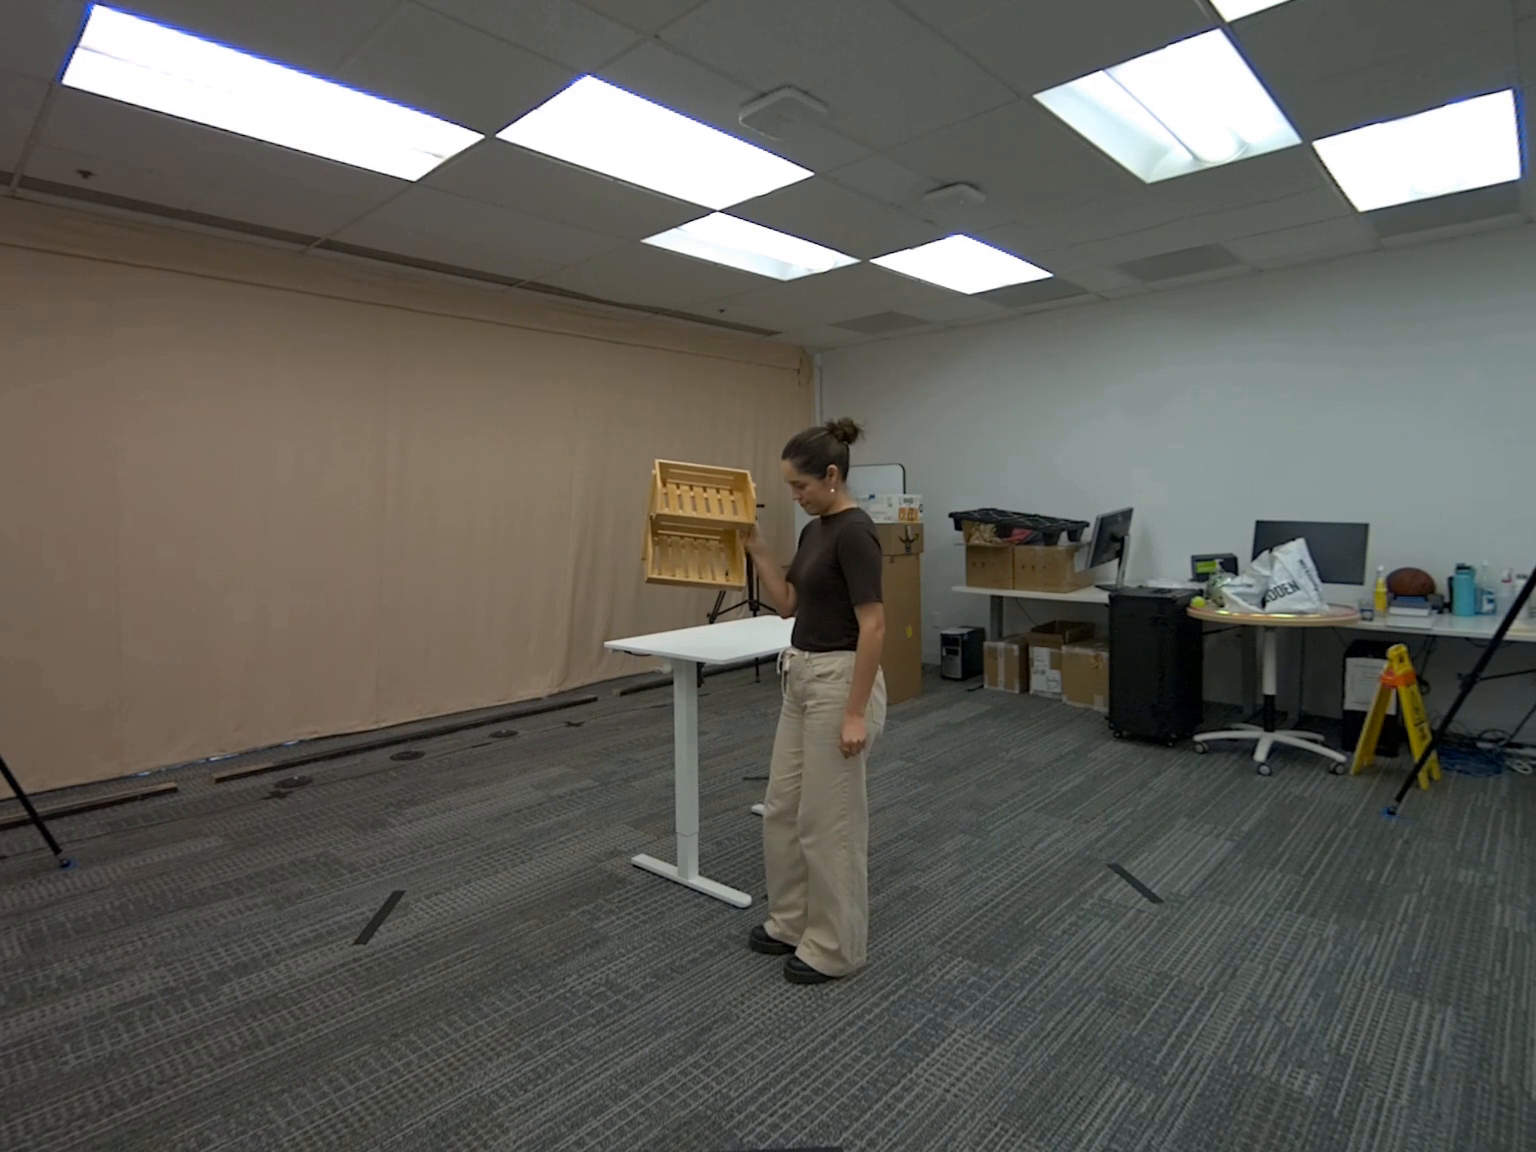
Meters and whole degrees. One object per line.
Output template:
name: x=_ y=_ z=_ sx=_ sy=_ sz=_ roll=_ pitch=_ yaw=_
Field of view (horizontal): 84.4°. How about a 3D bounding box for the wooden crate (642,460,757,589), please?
wooden crate: x=-0.209 y=-0.147 z=2.568 sx=0.319 sy=0.271 sz=0.309 roll=5 pitch=40 yaw=-16
